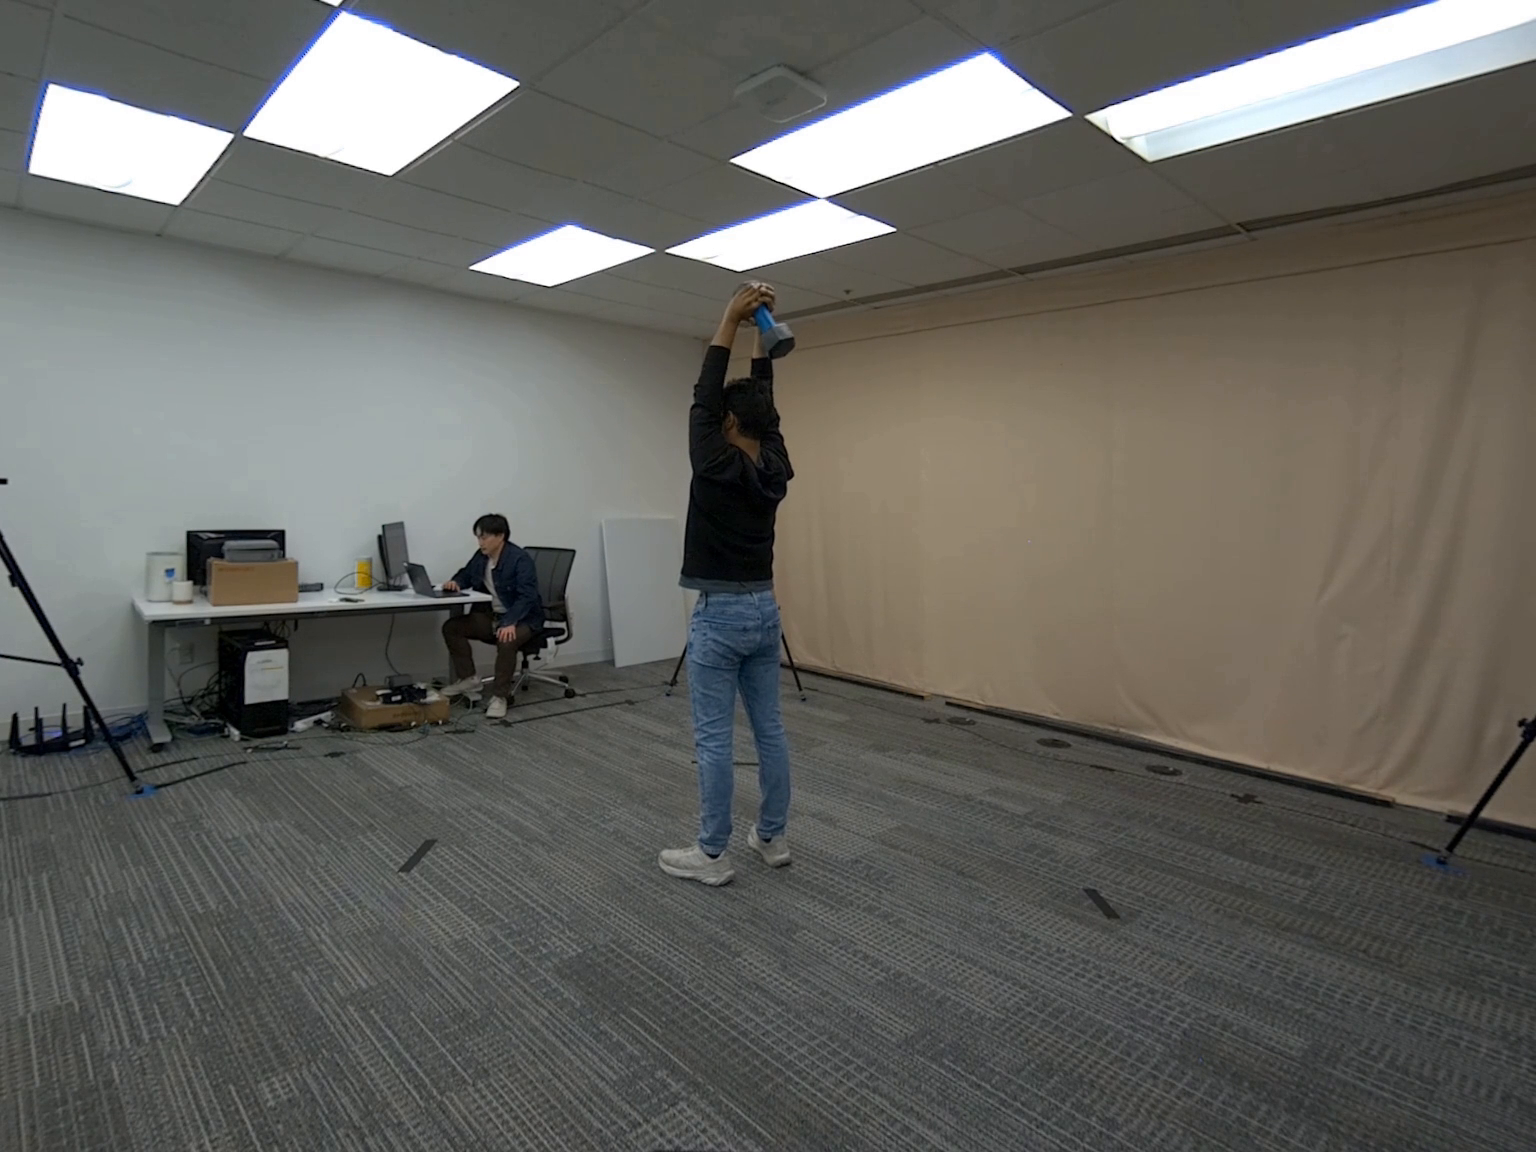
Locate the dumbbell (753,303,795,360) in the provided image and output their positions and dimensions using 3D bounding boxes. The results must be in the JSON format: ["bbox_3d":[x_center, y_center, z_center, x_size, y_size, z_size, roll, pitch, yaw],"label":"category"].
[{"bbox_3d":[-0.012,-0.915,3.037,0.121,0.299,0.108,-21,-19,-28],"label":"dumbbell"}]
